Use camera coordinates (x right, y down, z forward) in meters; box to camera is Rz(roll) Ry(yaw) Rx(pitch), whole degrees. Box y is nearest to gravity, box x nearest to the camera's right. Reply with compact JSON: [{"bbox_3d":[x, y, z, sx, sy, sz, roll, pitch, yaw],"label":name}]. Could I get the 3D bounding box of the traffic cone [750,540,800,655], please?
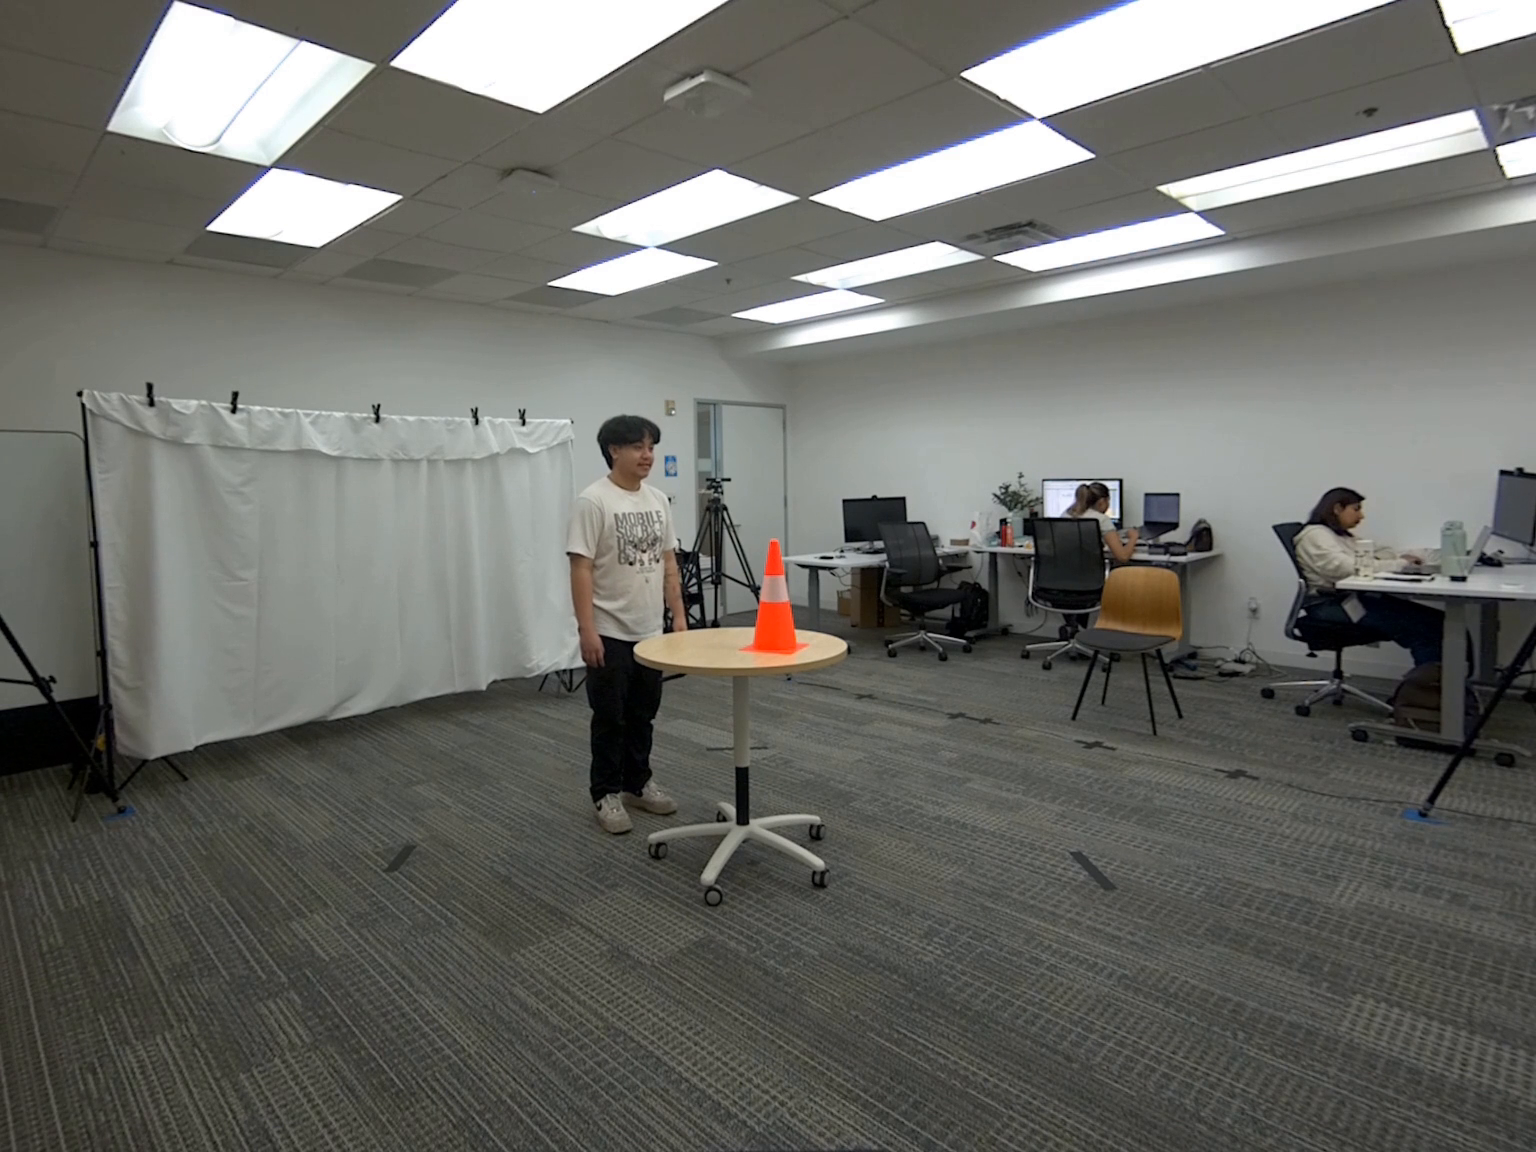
[{"bbox_3d":[0.022,0.067,3.011,0.208,0.382,0.201,0,5,23],"label":"traffic cone"}]
